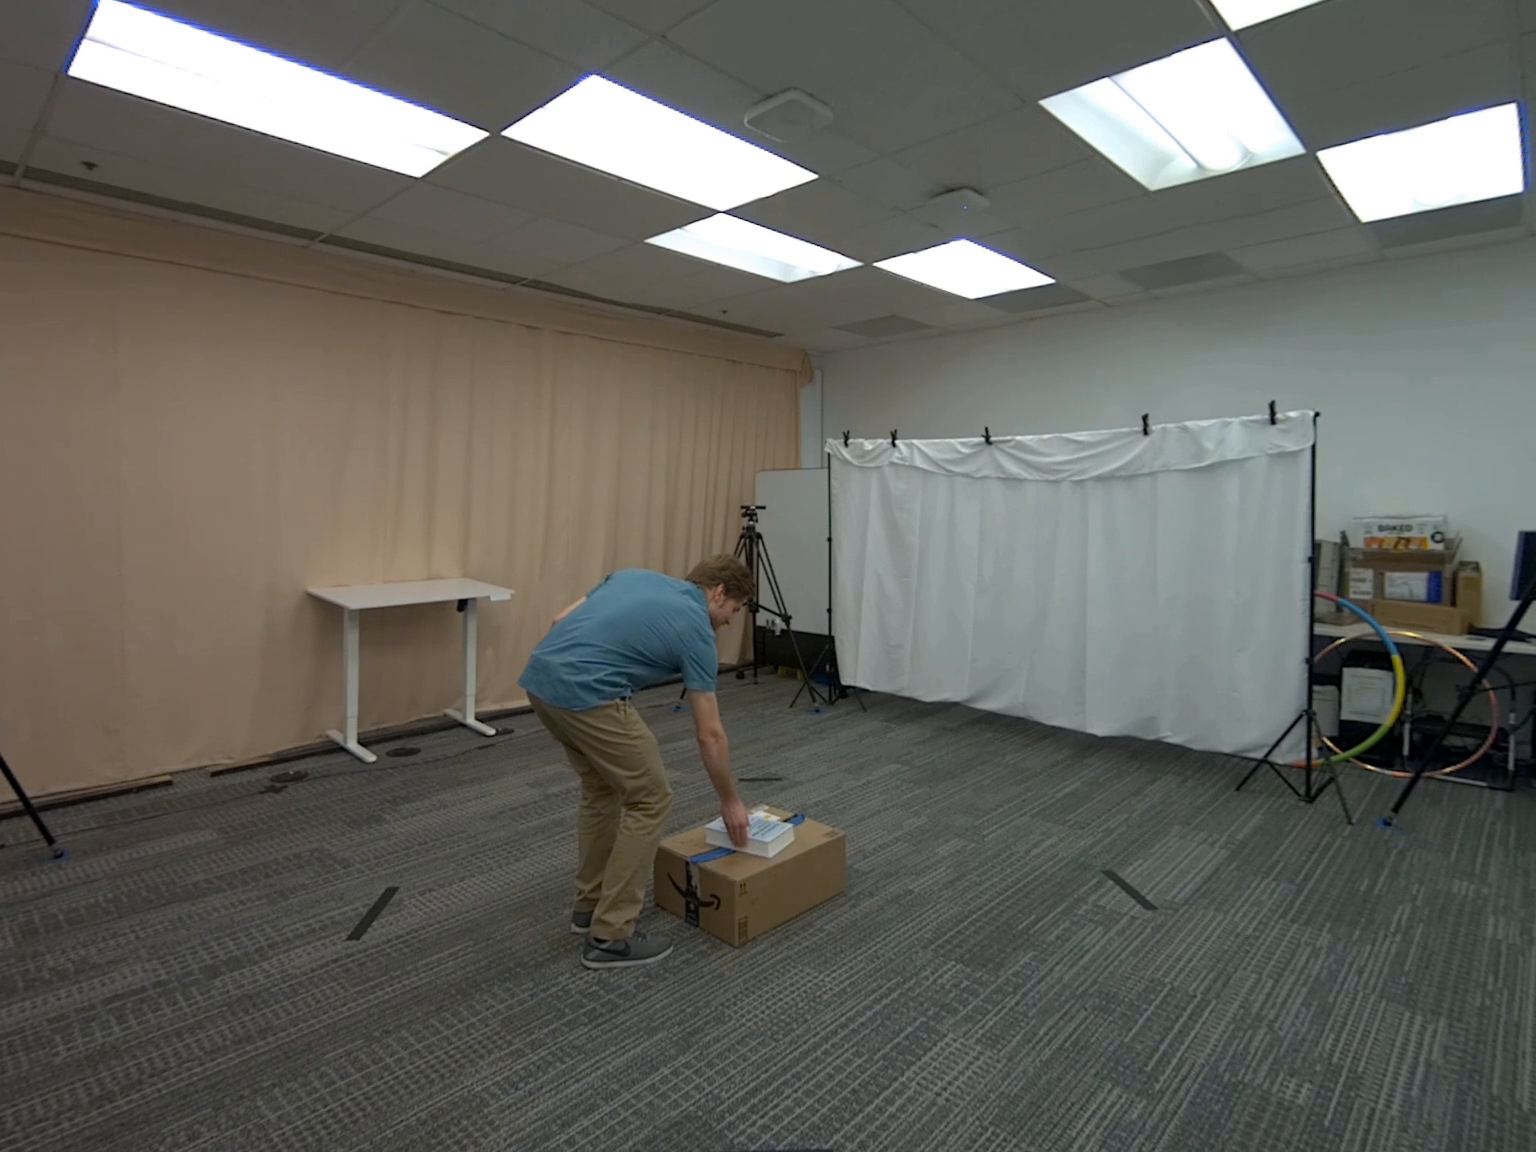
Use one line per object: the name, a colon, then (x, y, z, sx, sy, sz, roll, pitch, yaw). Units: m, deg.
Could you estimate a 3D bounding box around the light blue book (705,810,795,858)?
light blue book: (-0.063, 0.900, 2.963, 0.269, 0.059, 0.186, 2, 5, 32)
